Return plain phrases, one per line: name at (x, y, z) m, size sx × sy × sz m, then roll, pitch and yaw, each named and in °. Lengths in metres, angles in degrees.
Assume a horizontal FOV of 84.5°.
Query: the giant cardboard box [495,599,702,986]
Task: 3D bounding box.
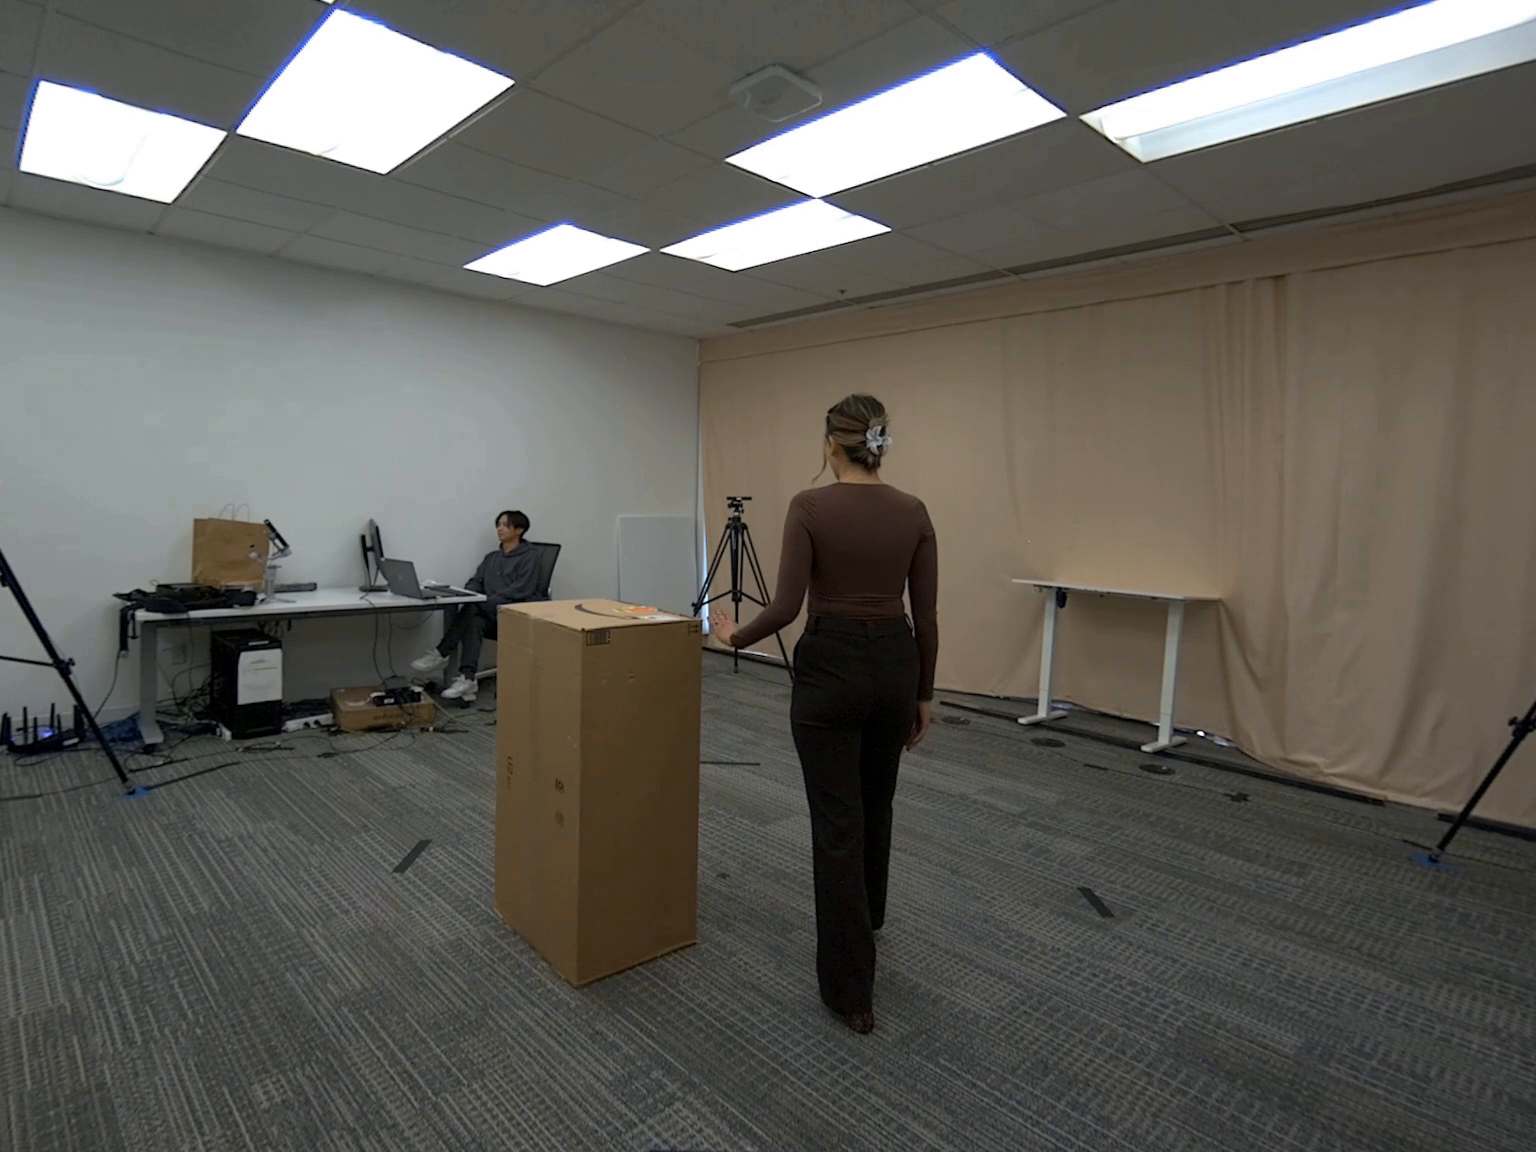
giant cardboard box at (-0.560, 0.625, 2.696) m, size 0.436 × 1.025 × 0.598 m, roll 0°, pitch 4°, yaw -38°
